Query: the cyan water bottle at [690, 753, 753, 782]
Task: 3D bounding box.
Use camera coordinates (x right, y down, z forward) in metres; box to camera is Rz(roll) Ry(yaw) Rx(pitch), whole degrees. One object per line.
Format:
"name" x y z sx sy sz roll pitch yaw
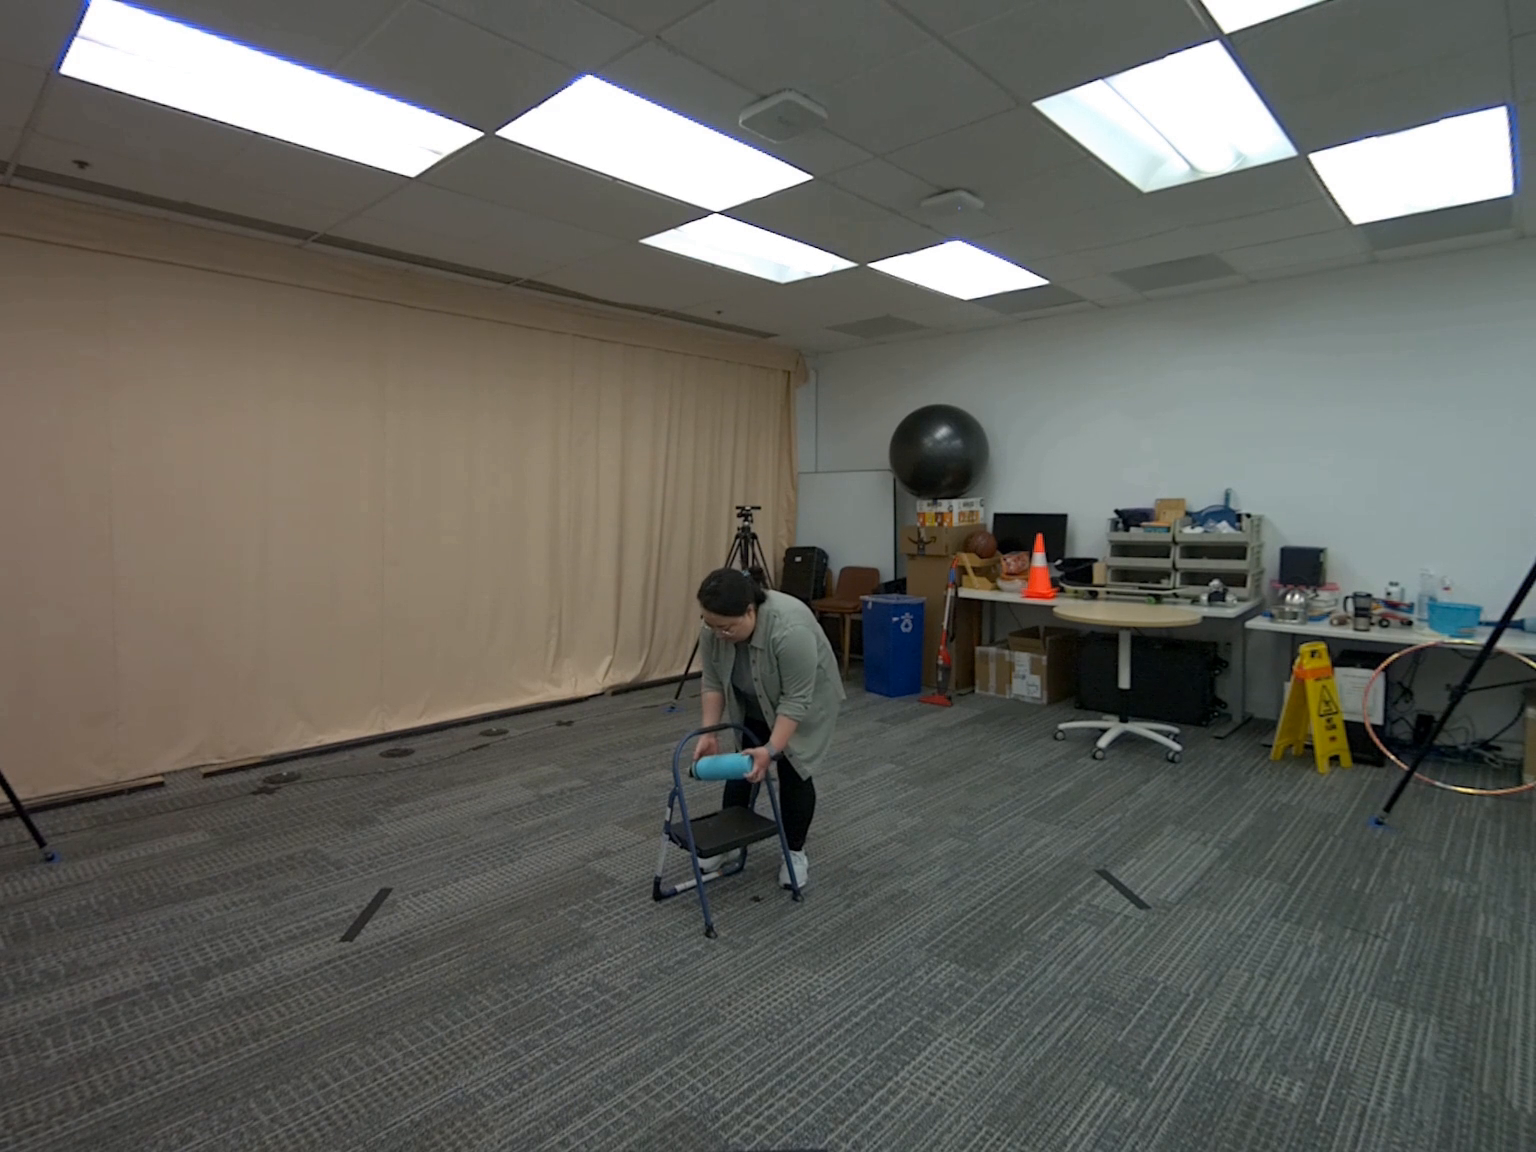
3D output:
"cyan water bottle" -0.159 0.683 3.017 0.290 0.092 0.090 -12 -3 32
